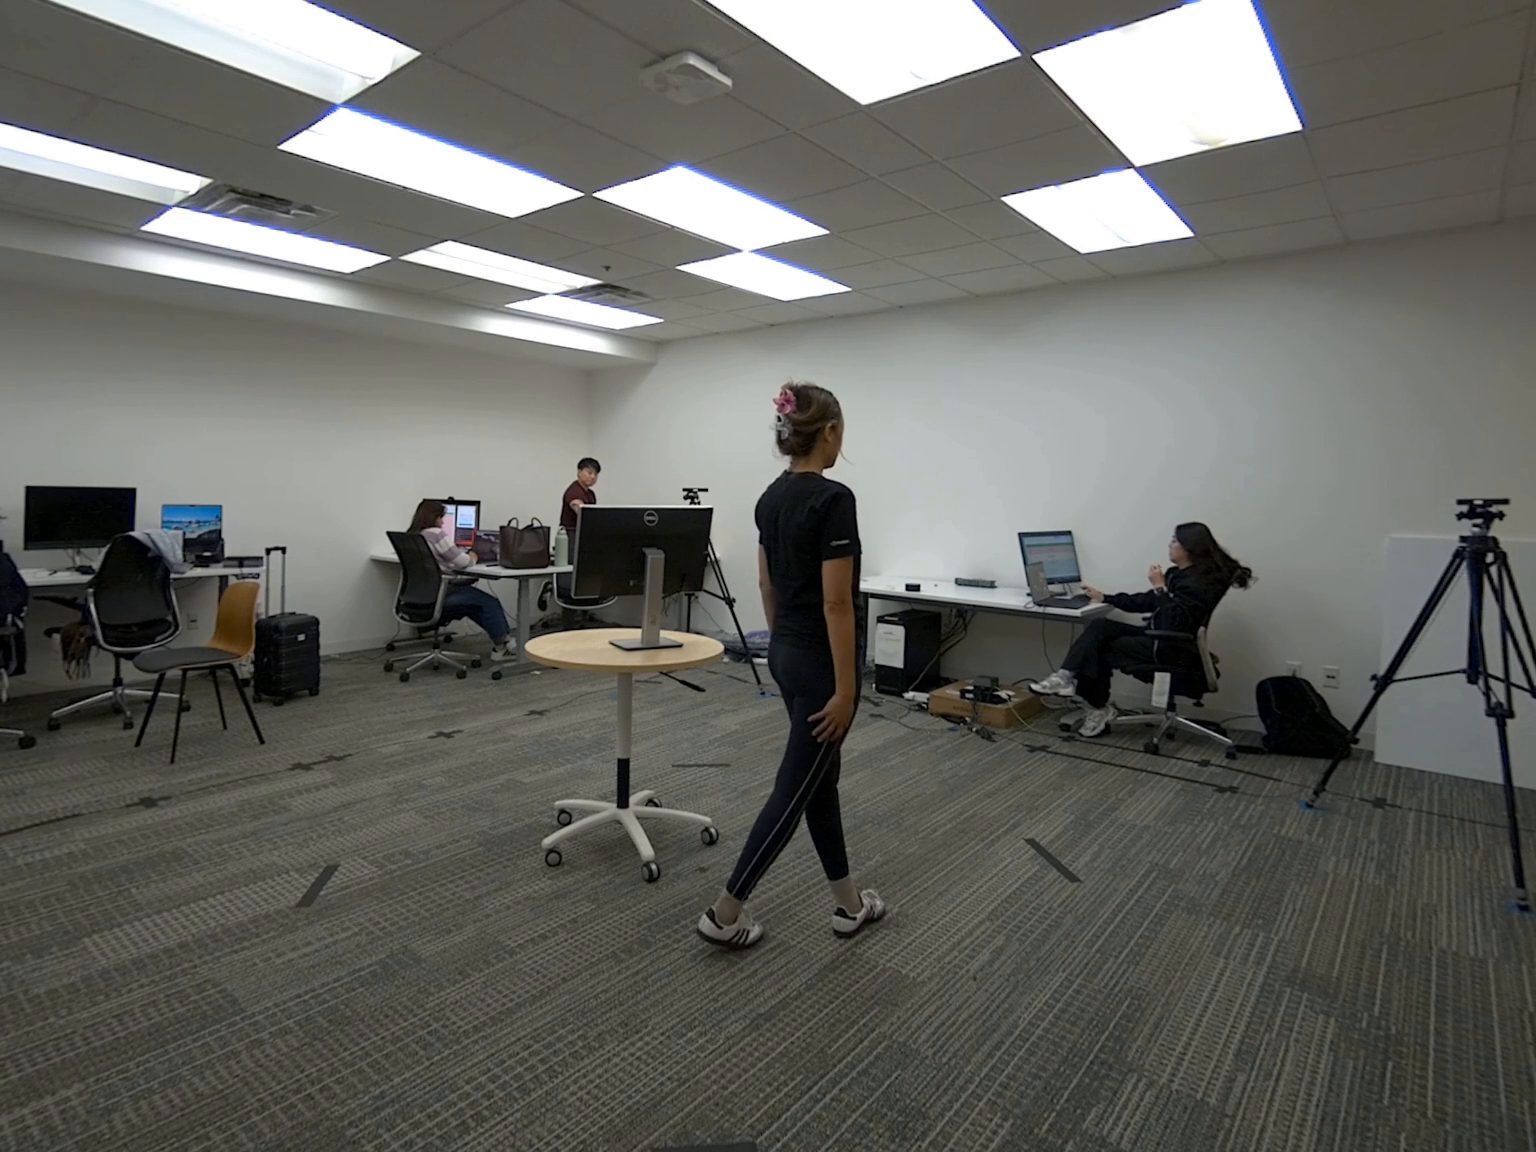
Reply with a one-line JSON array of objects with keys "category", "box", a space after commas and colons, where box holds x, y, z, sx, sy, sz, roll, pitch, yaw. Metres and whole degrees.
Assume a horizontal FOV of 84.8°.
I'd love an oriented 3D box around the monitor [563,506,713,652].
[{"category": "monitor", "box": [-0.477, 0.002, 3.297, 0.524, 0.521, 0.193, -1, 4, -31]}]
